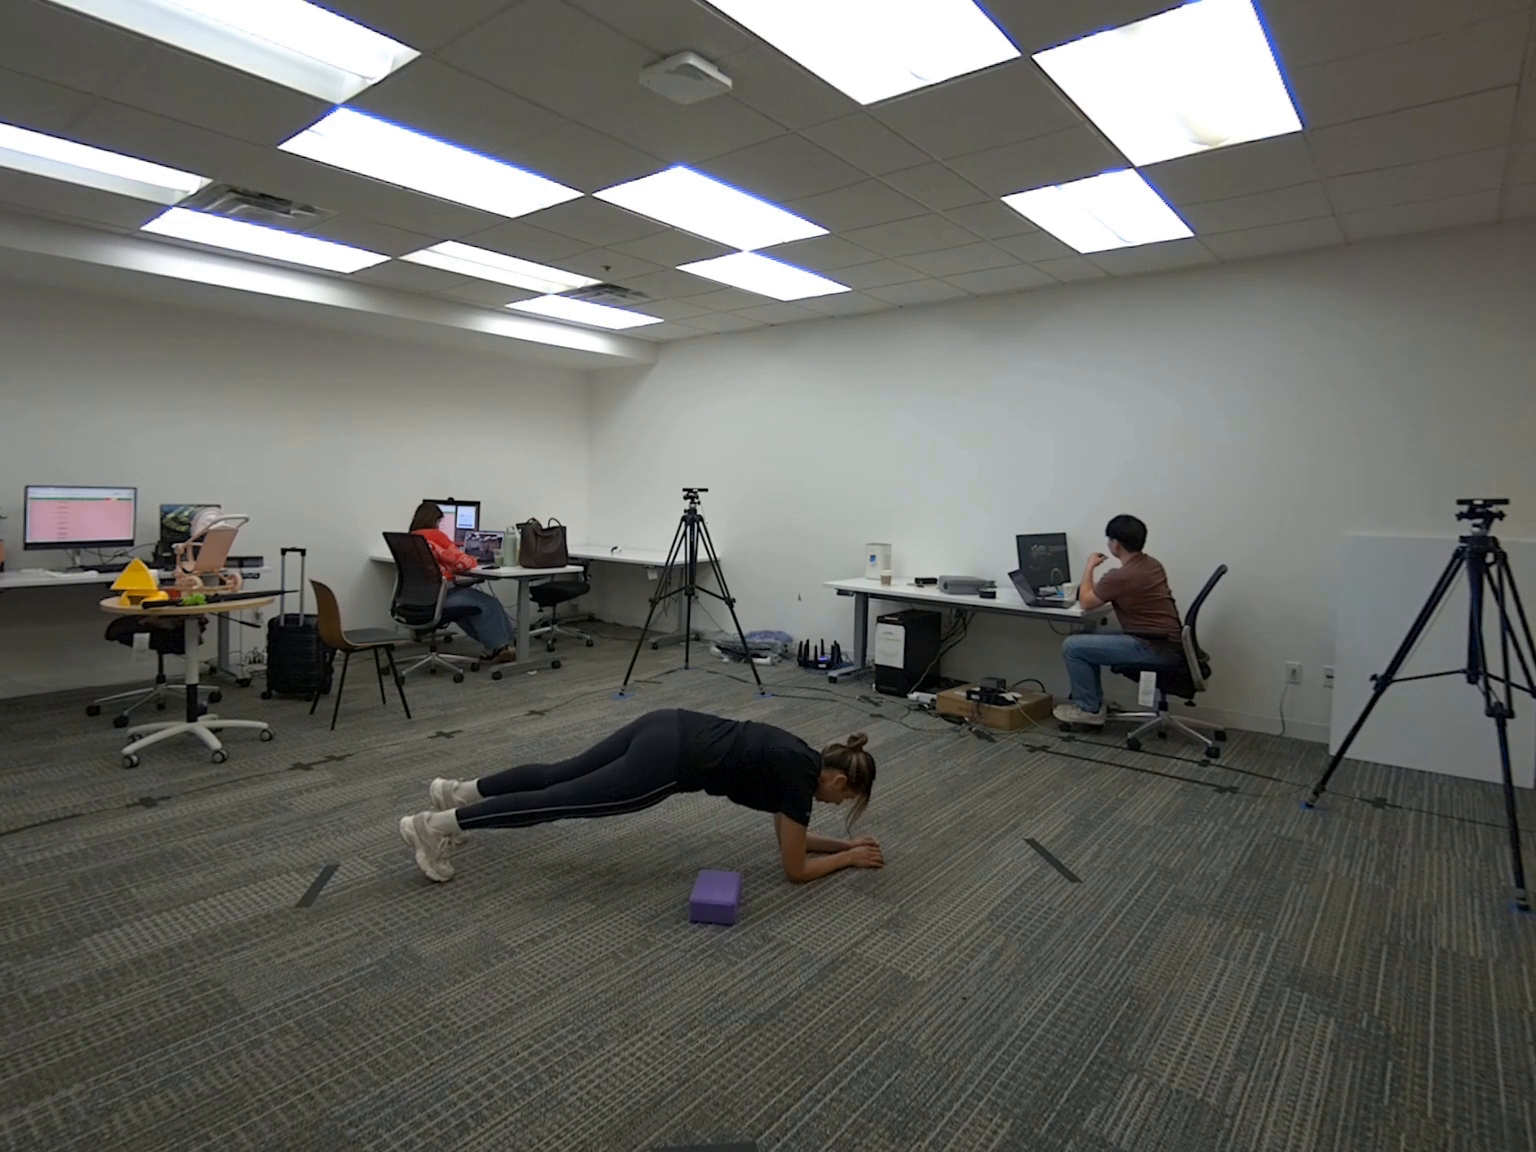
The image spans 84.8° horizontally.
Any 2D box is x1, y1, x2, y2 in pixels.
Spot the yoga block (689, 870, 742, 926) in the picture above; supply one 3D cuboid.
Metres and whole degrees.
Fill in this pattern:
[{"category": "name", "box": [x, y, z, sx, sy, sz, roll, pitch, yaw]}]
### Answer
[{"category": "yoga block", "box": [-0.179, 1.053, 2.817, 0.150, 0.076, 0.228, 0, 4, 5]}]
